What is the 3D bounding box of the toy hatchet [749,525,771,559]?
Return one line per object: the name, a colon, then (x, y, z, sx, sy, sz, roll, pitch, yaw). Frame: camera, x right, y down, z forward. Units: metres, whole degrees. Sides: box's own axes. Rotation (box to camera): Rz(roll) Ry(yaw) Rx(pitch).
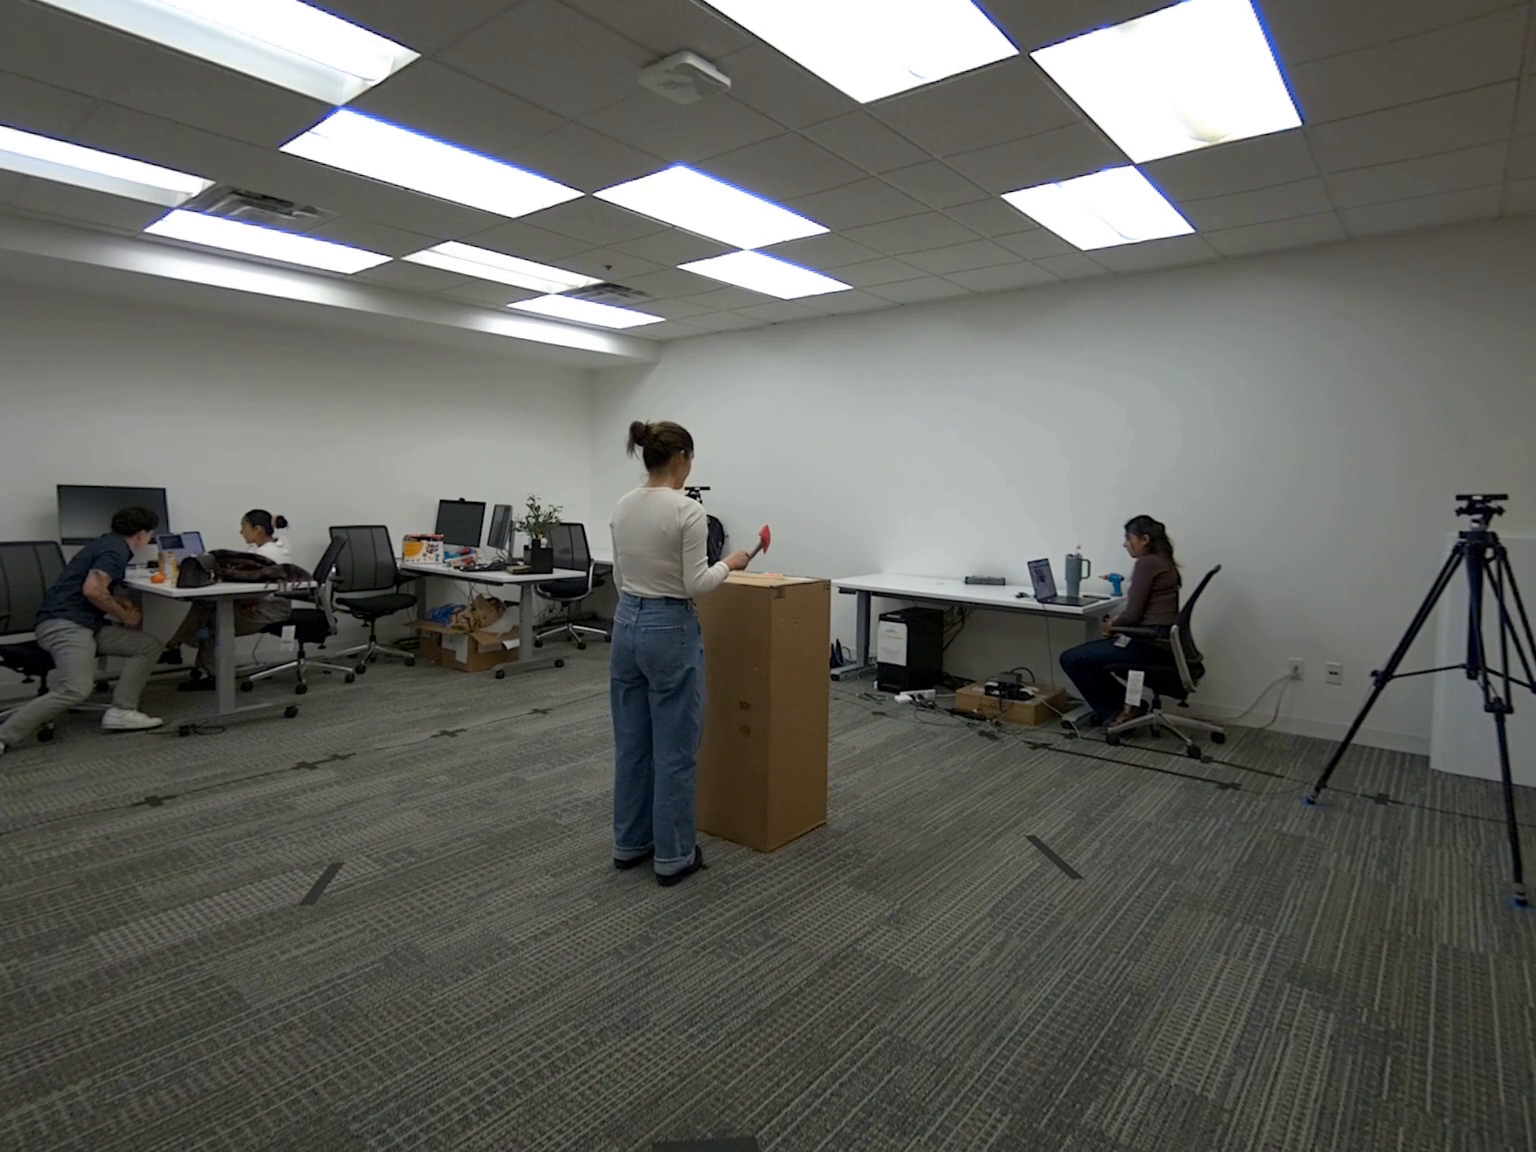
toy hatchet: (-0.053, -0.123, 3.241, 0.030, 0.129, 0.267, 18, 22, 20)
